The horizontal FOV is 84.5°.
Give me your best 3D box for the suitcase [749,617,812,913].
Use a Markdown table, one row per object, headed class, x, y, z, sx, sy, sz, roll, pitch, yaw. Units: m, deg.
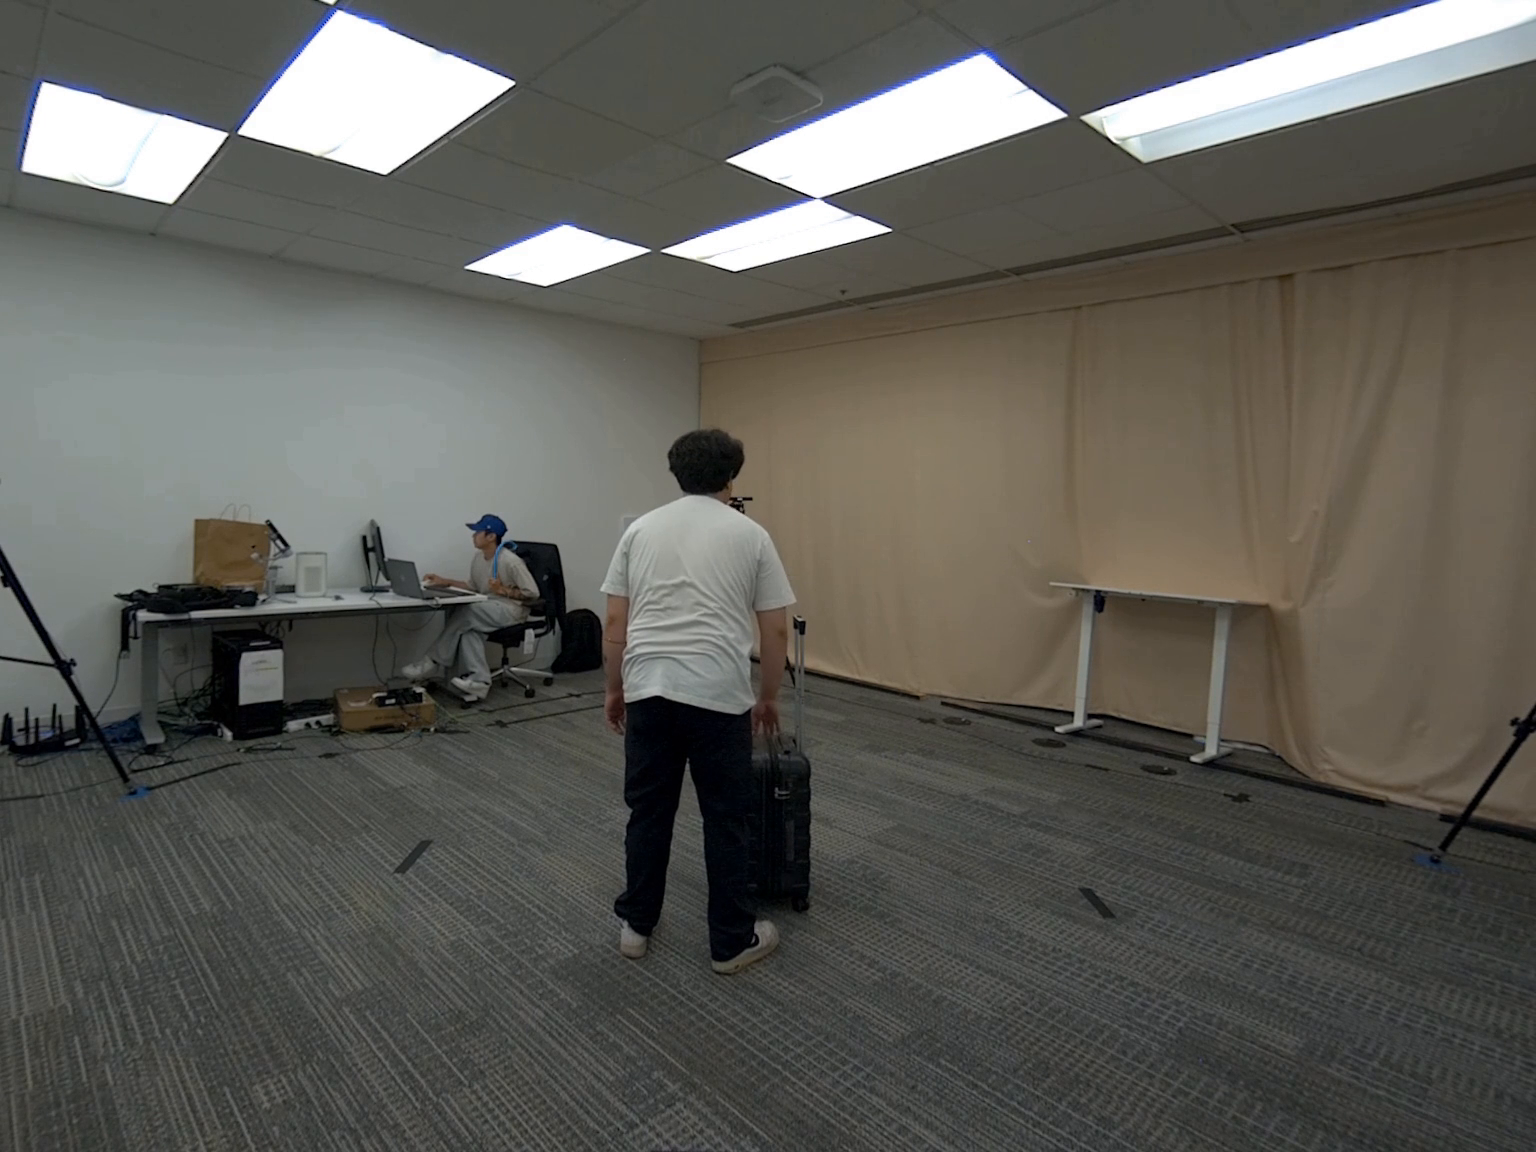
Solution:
| class | x | y | z | sx | sy | sz | roll | pitch | yaw |
| --- | --- | --- | --- | --- | --- | --- | --- | --- | --- |
| suitcase | 0.007 | 0.650 | 2.948 | 0.256 | 0.976 | 0.386 | -2 | 3 | -3 |
